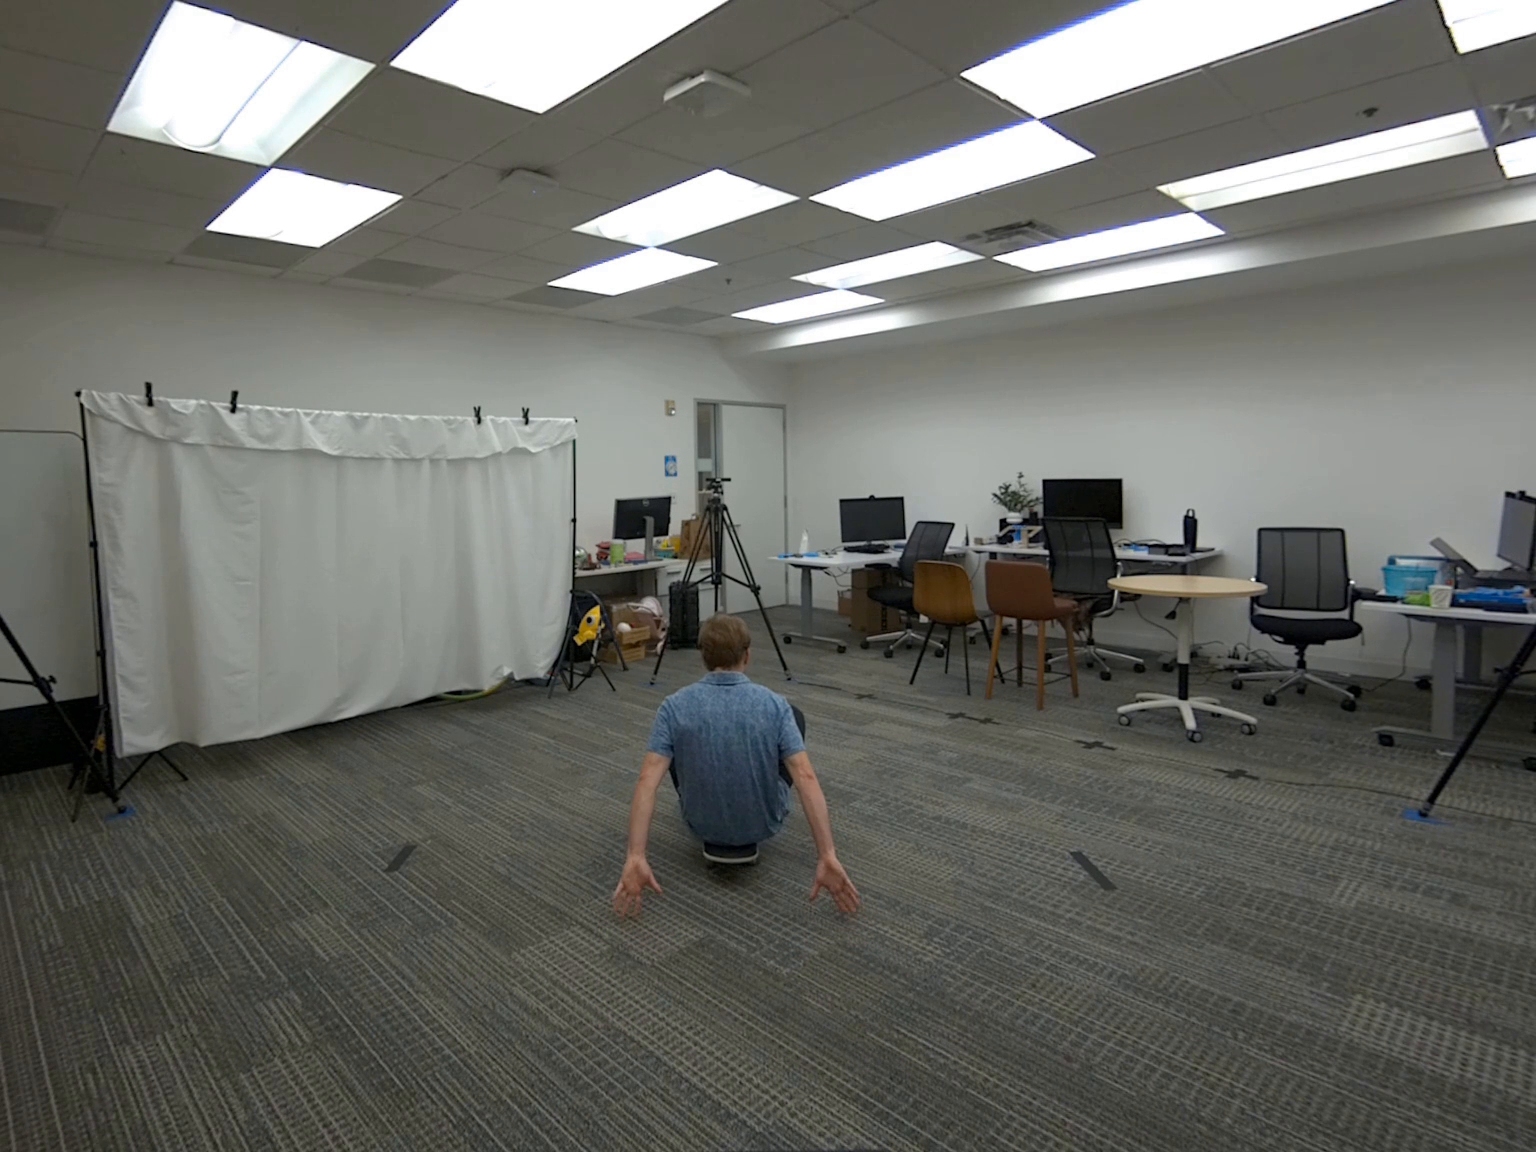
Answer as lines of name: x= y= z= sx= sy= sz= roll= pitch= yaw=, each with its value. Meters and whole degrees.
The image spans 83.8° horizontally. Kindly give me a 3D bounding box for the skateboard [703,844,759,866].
skateboard: x=-0.153 y=0.973 z=3.297 sx=0.193 sy=0.110 sz=0.792 roll=-1 pitch=7 yaw=-5
